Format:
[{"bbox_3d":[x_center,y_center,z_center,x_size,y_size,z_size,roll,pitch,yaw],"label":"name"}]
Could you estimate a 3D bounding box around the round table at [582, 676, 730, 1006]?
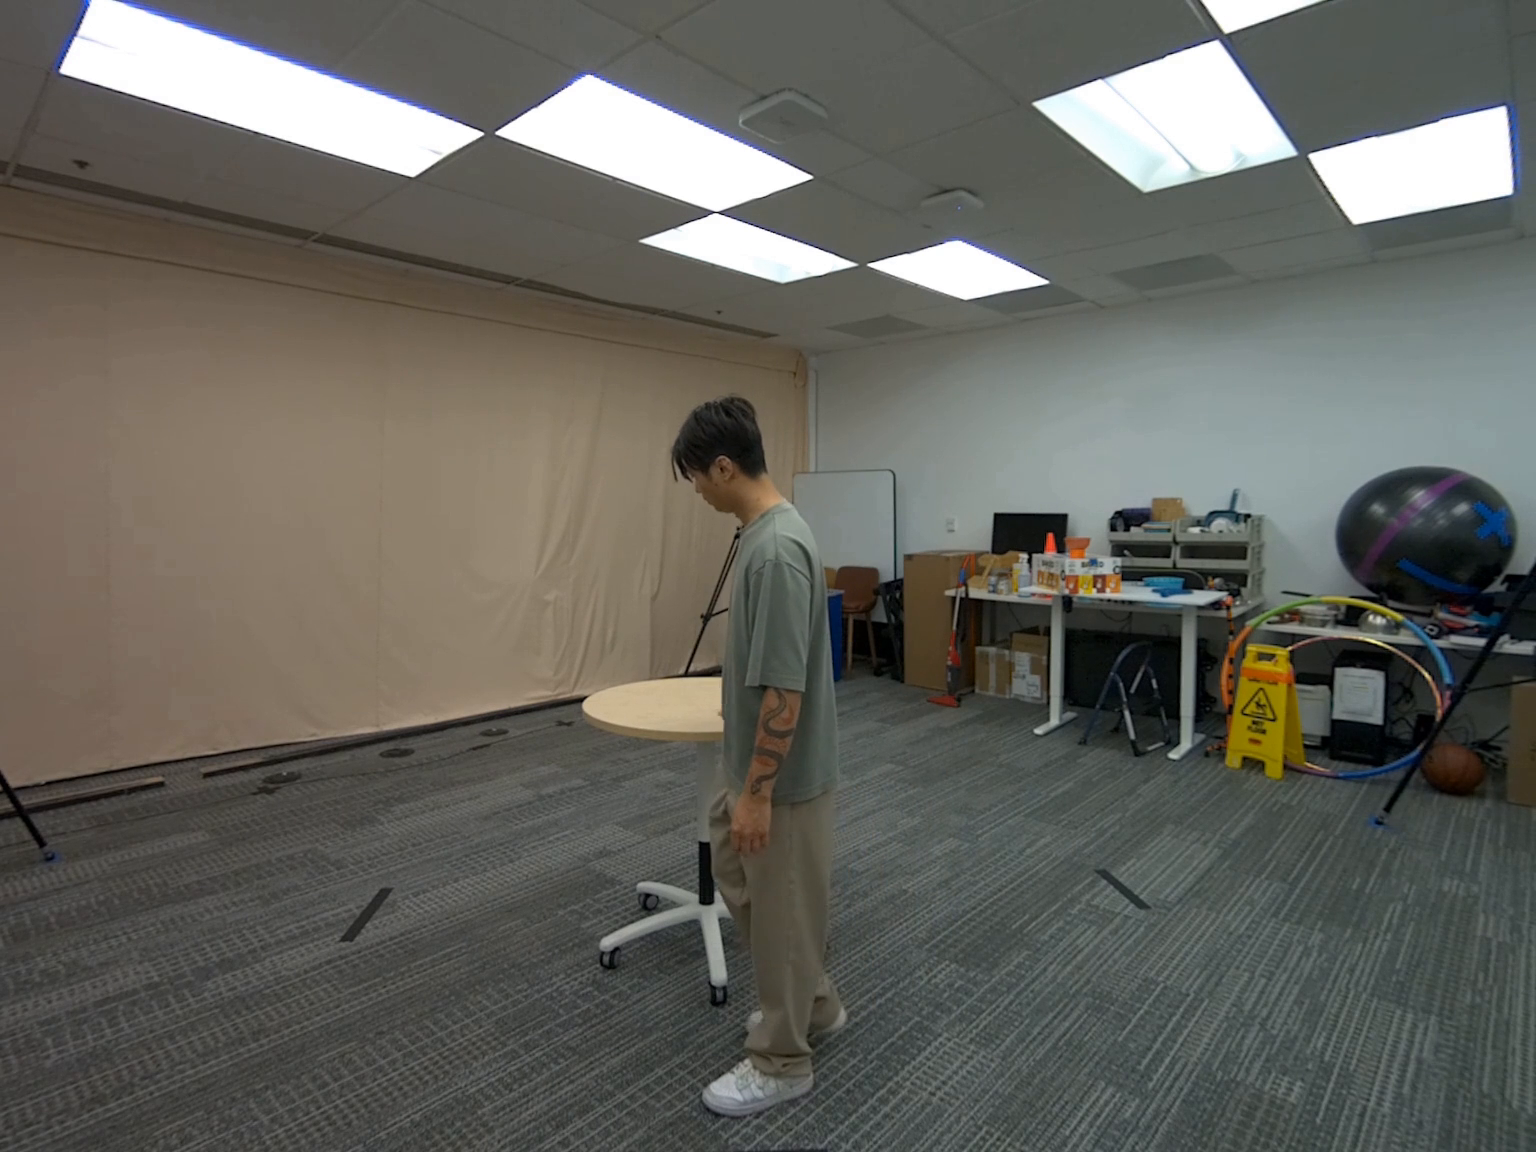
[{"bbox_3d":[-0.193,0.787,2.647,0.763,0.792,0.766,0,3,-2],"label":"round table"}]
